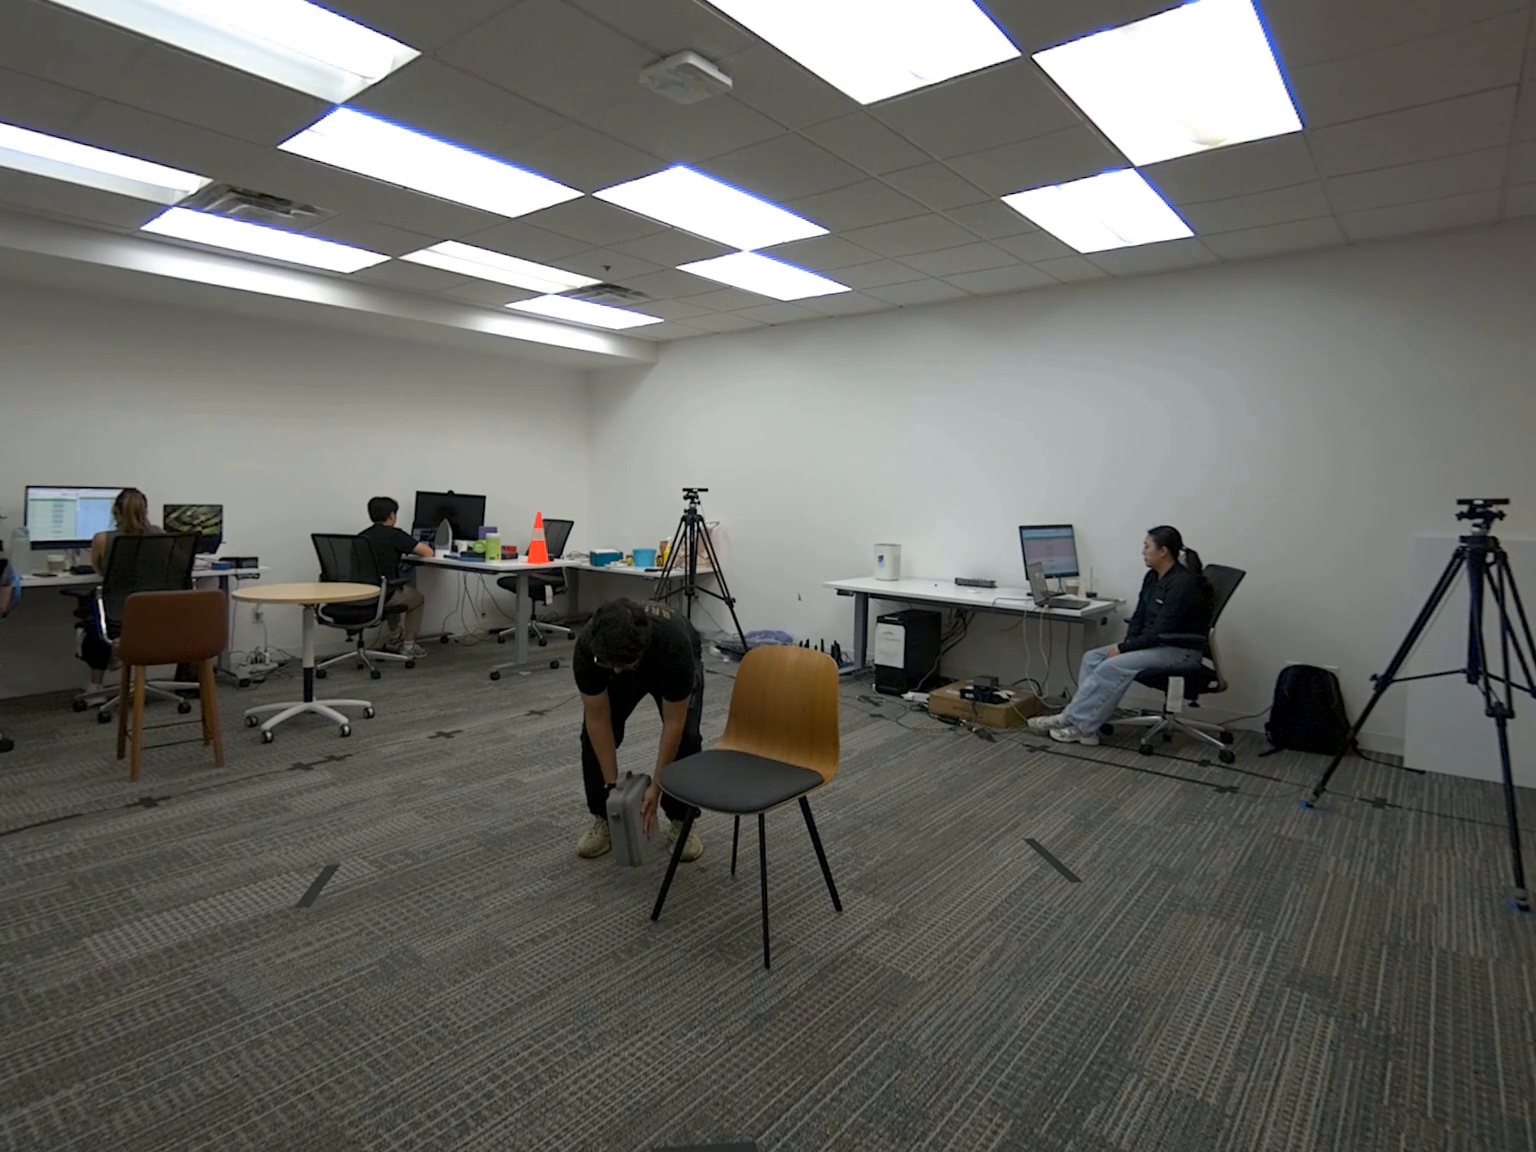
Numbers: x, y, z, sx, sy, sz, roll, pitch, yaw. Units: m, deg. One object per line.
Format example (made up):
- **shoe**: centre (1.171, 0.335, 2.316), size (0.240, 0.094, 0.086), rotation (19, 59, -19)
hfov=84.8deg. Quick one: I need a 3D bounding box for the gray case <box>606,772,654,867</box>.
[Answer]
- **gray case**: centre (-0.494, 0.860, 3.026), size (0.105, 0.259, 0.256), rotation (-8, 5, 8)
